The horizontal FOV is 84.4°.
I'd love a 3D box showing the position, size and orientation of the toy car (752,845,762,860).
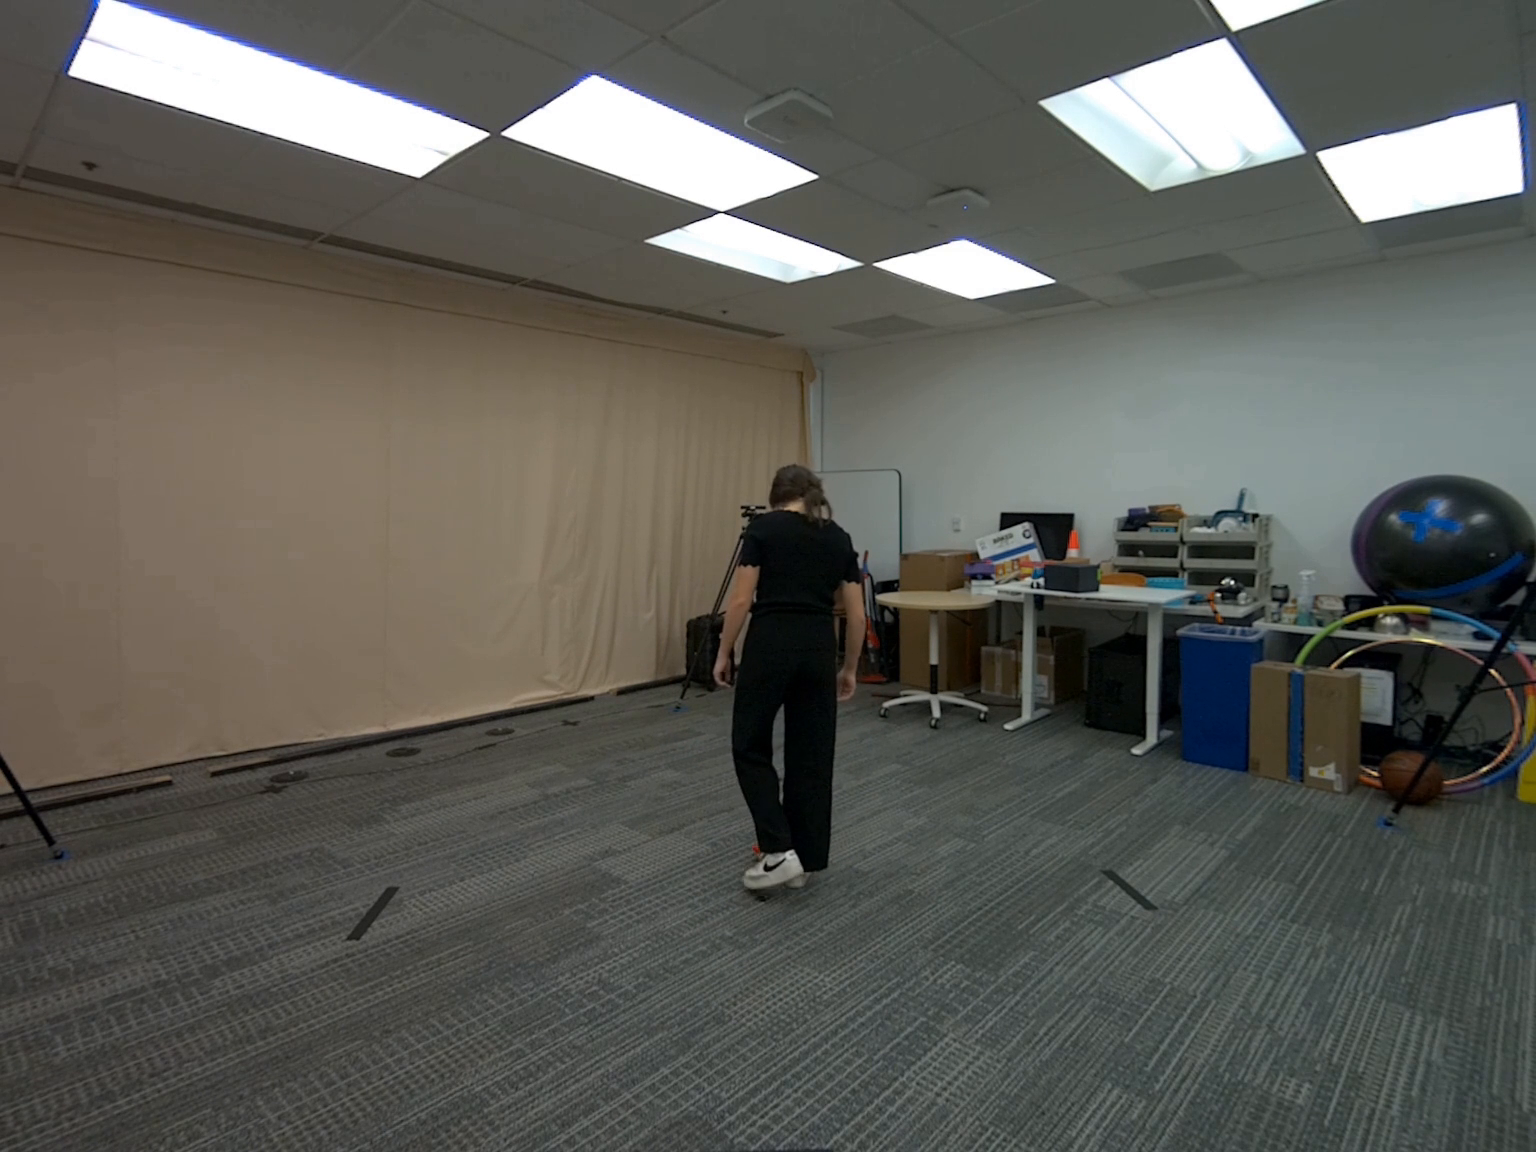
[{"bbox_3d":[0.057,1.079,3.340,0.247,0.083,0.134,10,-1,-32],"label":"toy car"}]
